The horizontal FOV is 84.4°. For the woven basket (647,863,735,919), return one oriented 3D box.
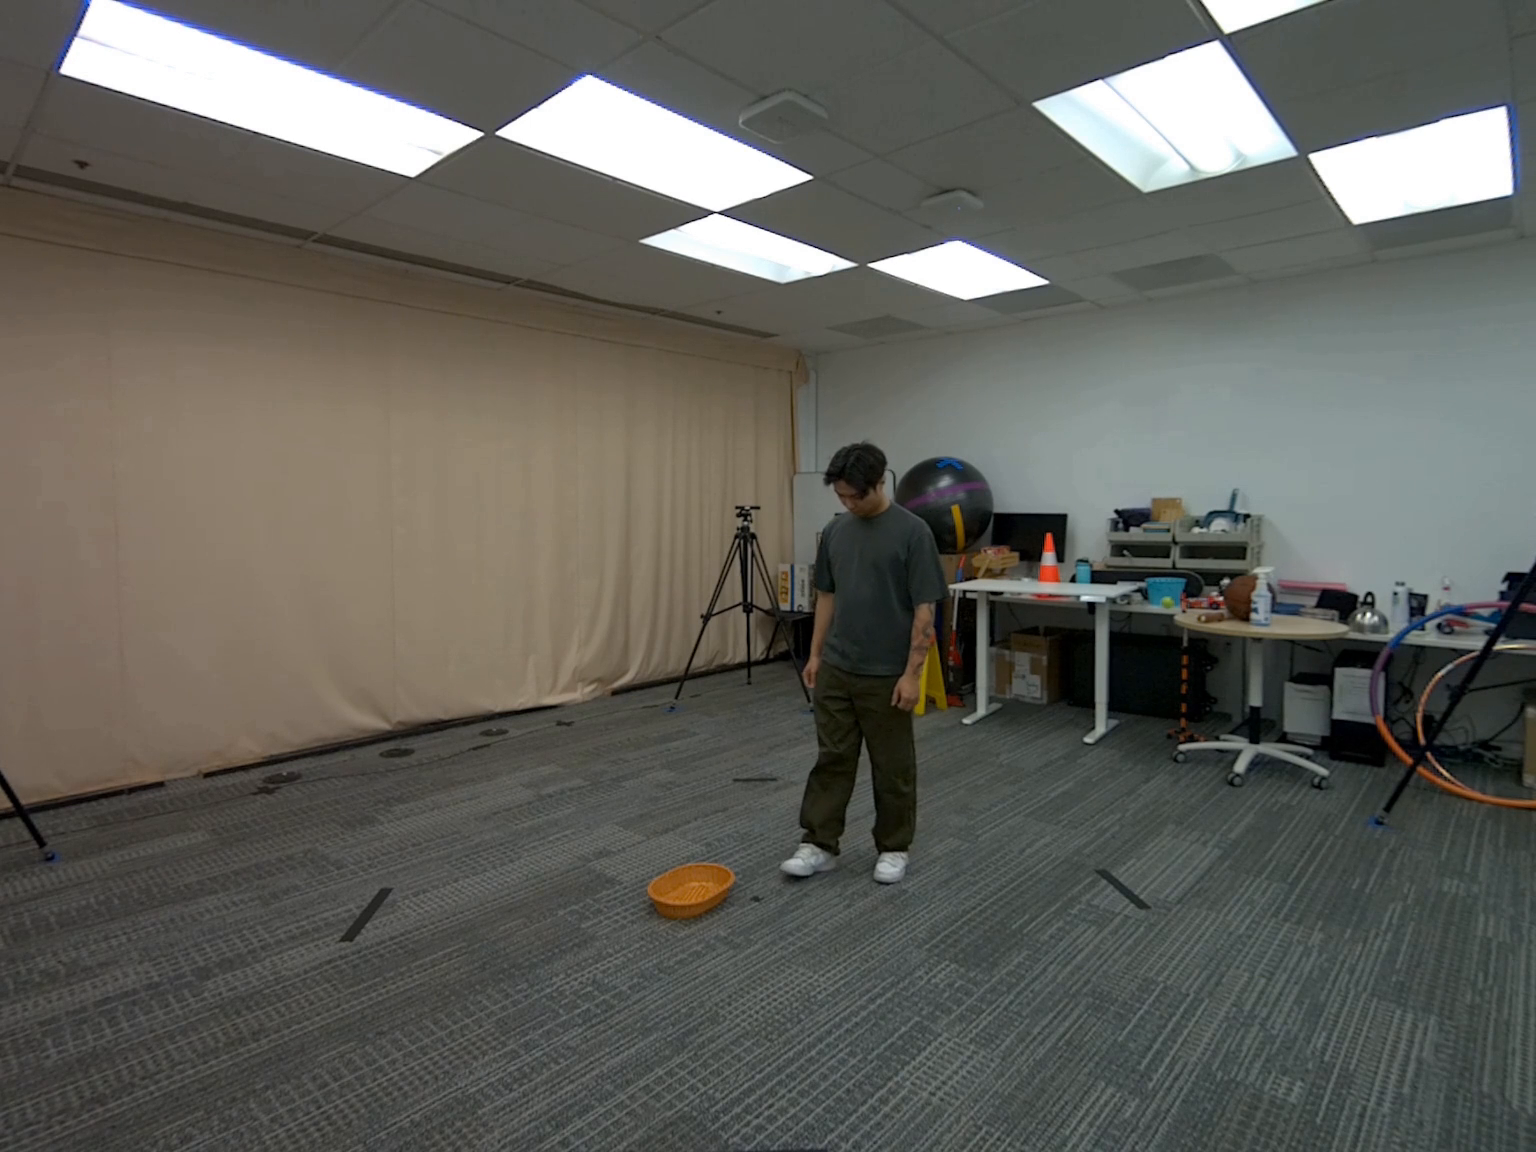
[{"bbox_3d":[-0.270,1.109,2.965,0.260,0.073,0.340,3,6,38],"label":"woven basket"}]
